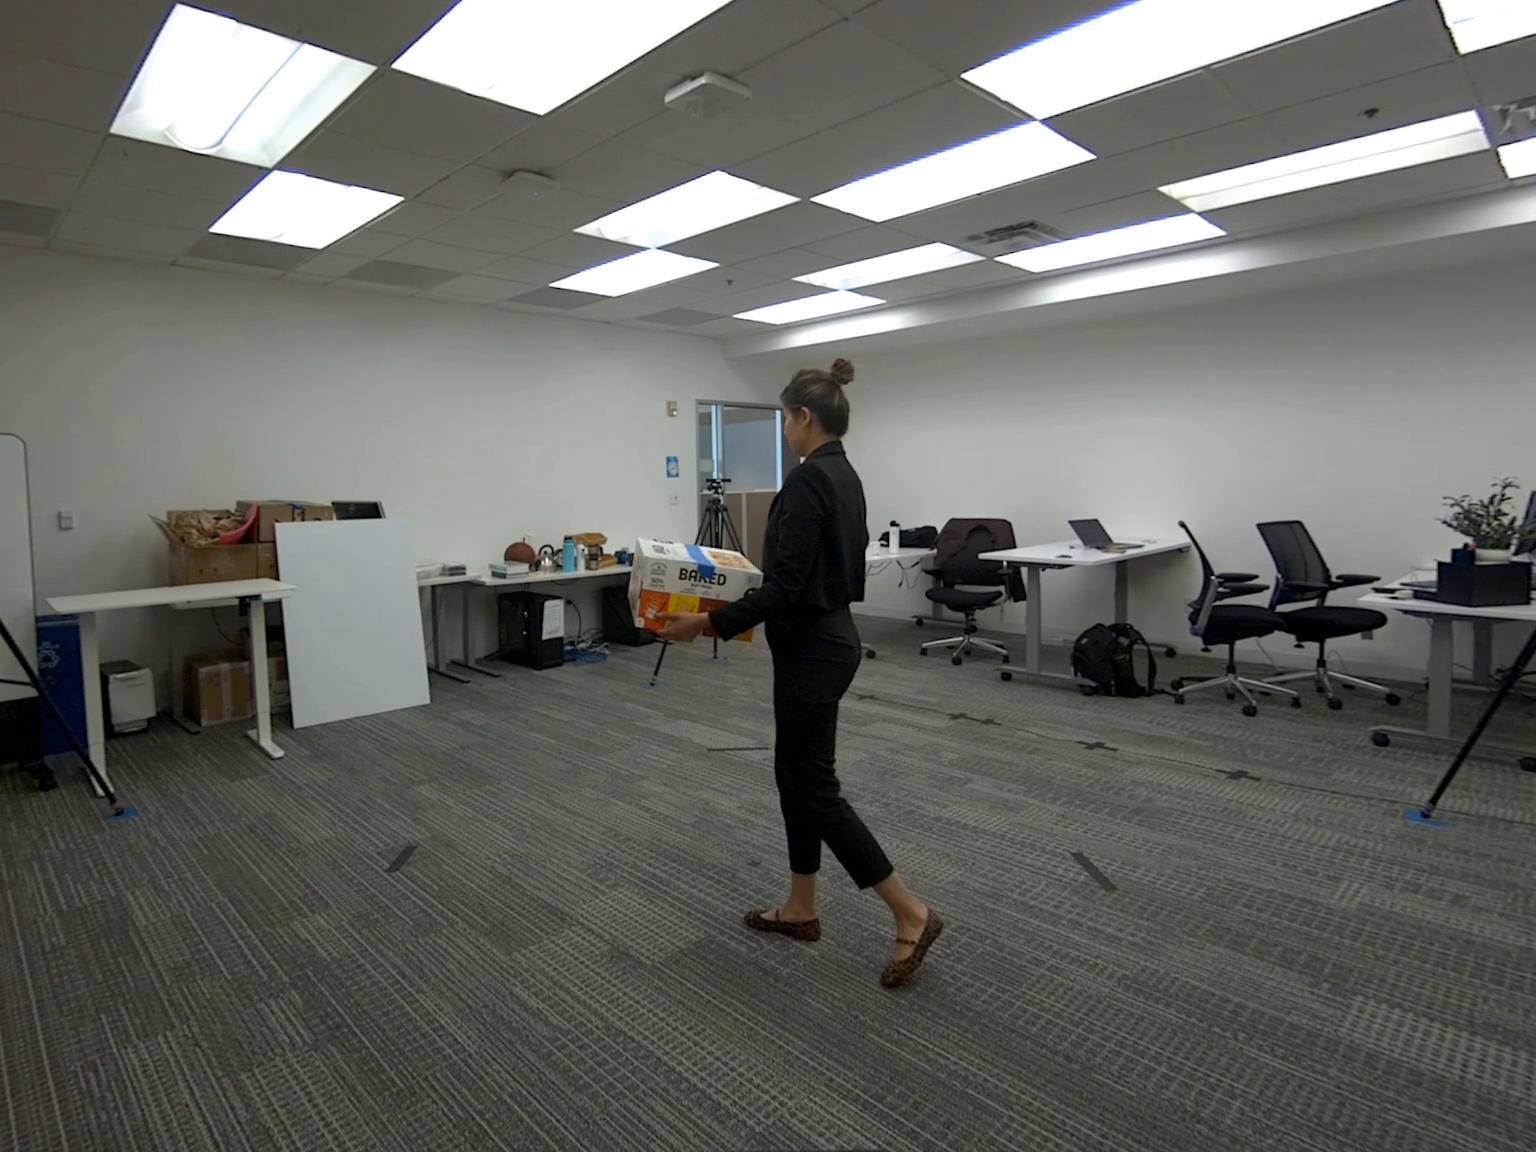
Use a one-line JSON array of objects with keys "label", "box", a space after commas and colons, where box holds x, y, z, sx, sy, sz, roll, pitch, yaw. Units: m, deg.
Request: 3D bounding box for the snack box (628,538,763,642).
[{"label": "snack box", "box": [-0.231, 0.033, 2.589, 0.336, 0.205, 0.412, 9, 8, -13]}]
